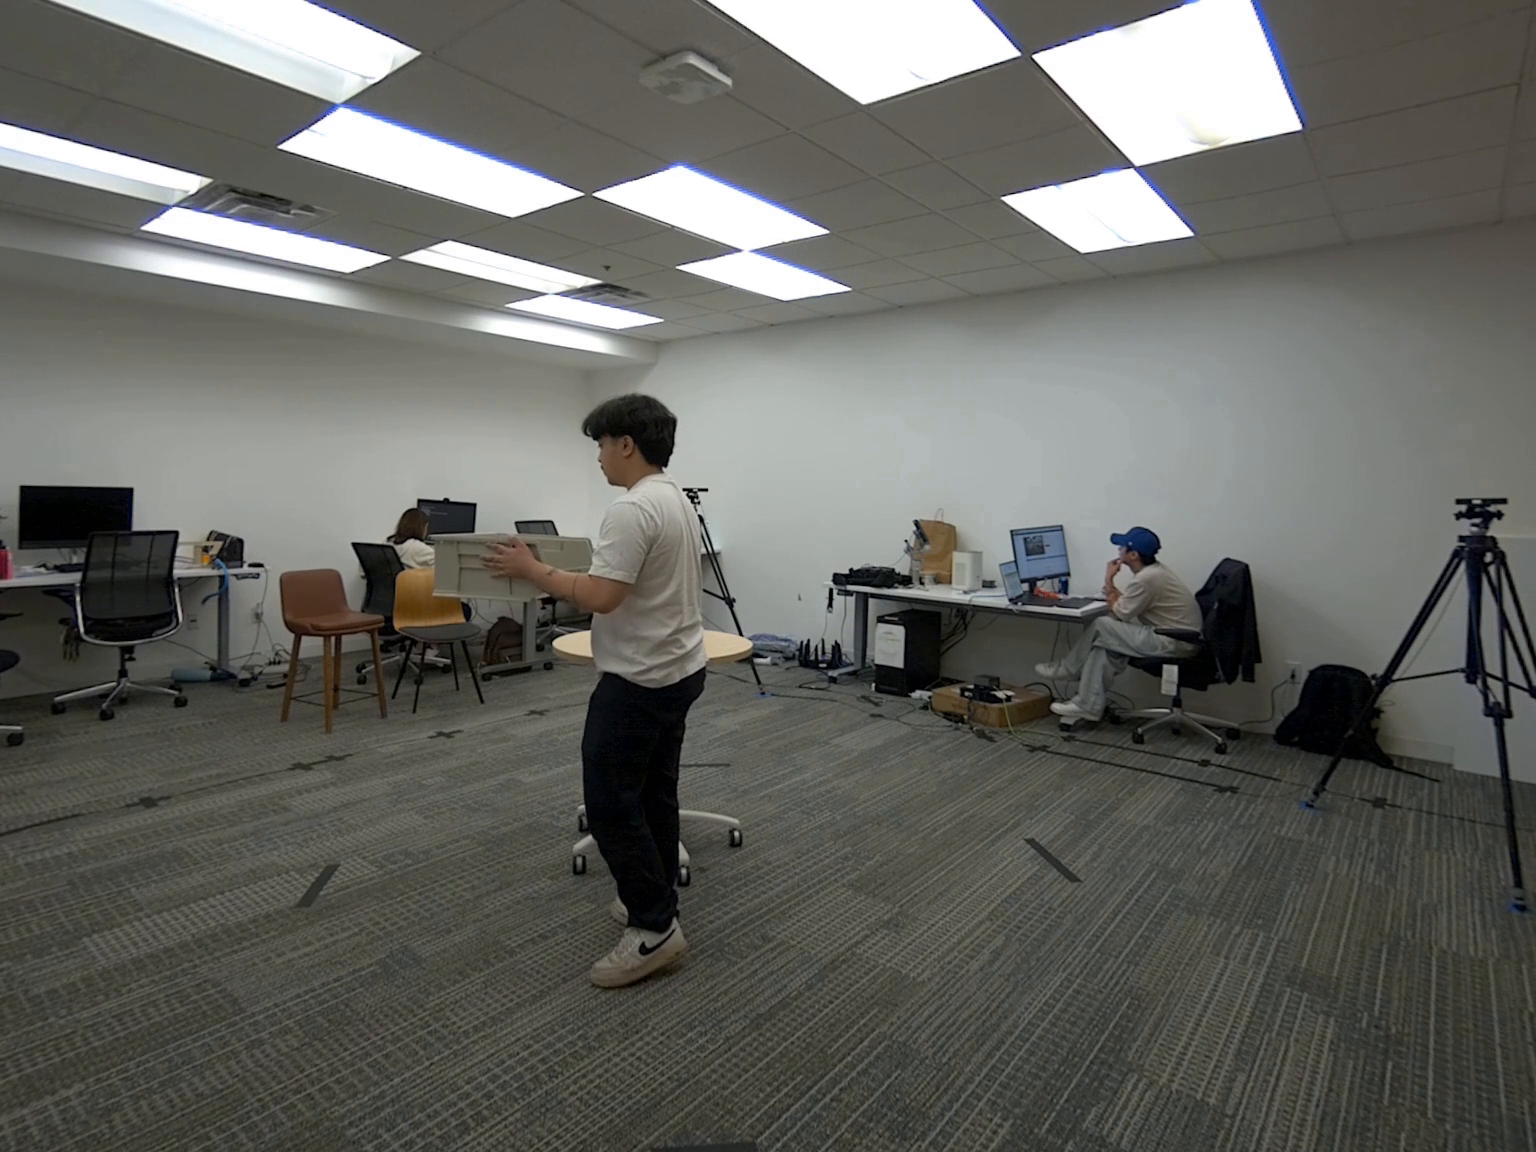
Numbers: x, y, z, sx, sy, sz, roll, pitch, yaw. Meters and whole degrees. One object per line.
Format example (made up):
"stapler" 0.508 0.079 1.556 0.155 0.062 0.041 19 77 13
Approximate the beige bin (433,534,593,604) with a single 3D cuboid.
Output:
"beige bin" -0.791 -0.027 2.655 0.382 0.188 0.419 2 4 9
